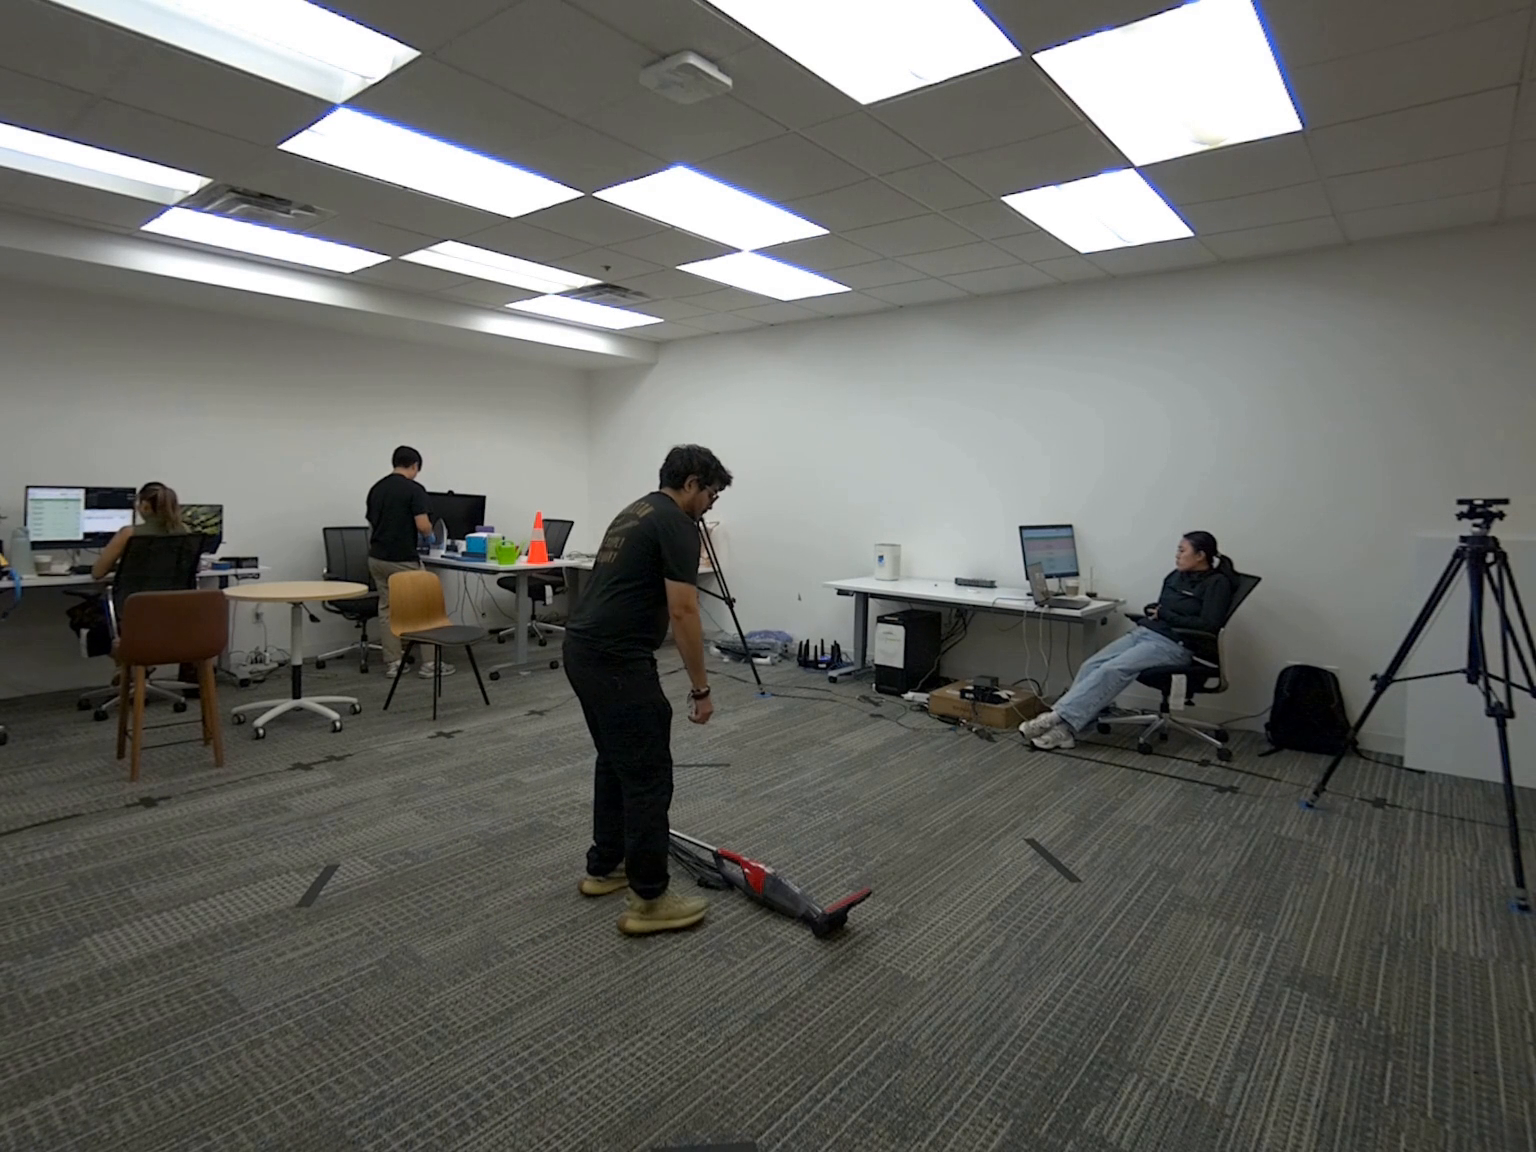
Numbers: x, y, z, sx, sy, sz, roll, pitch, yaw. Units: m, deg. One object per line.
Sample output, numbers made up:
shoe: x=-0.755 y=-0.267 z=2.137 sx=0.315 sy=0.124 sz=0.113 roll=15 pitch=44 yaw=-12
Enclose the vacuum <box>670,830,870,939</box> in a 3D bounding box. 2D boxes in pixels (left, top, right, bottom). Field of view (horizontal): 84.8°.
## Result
vacuum: x=-0.184 y=1.021 z=3.005 sx=1.085 sy=0.143 sz=0.245 roll=5 pitch=5 yaw=41
